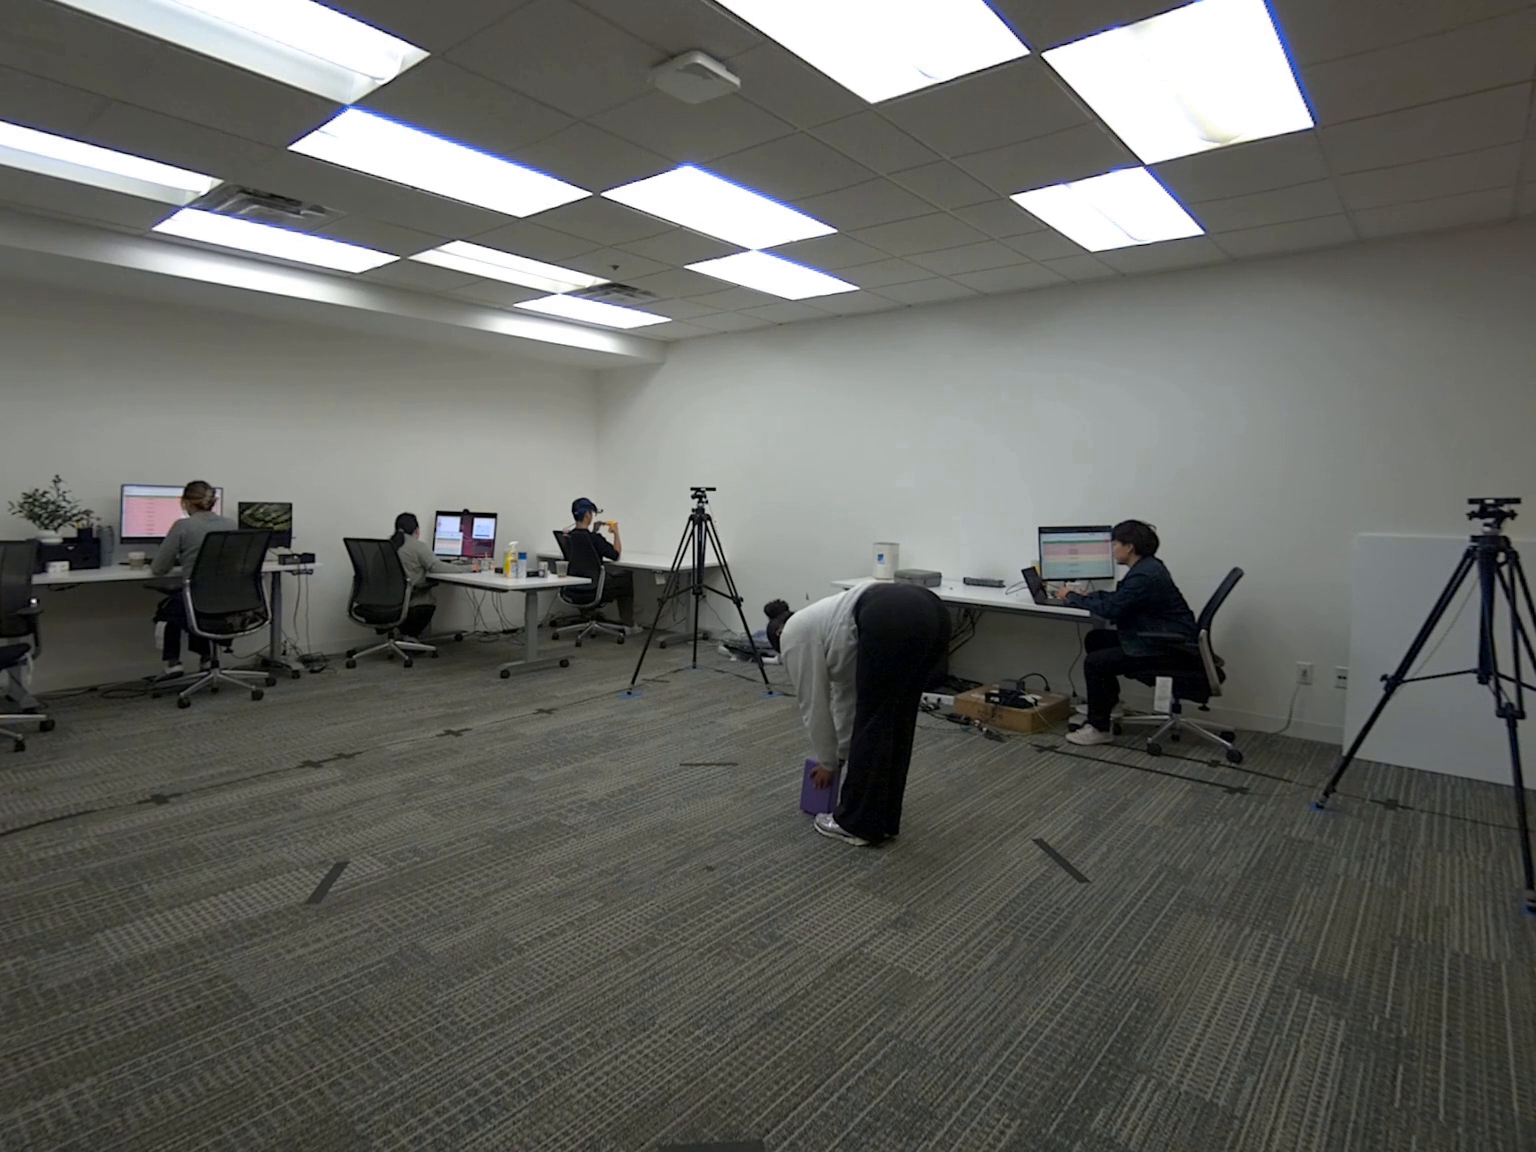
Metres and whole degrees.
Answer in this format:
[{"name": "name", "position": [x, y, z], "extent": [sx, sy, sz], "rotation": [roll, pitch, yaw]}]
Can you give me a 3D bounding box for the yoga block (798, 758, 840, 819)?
[{"name": "yoga block", "position": [0.214, 0.901, 3.649], "extent": [0.154, 0.228, 0.074], "rotation": [9, 7, 36]}]
